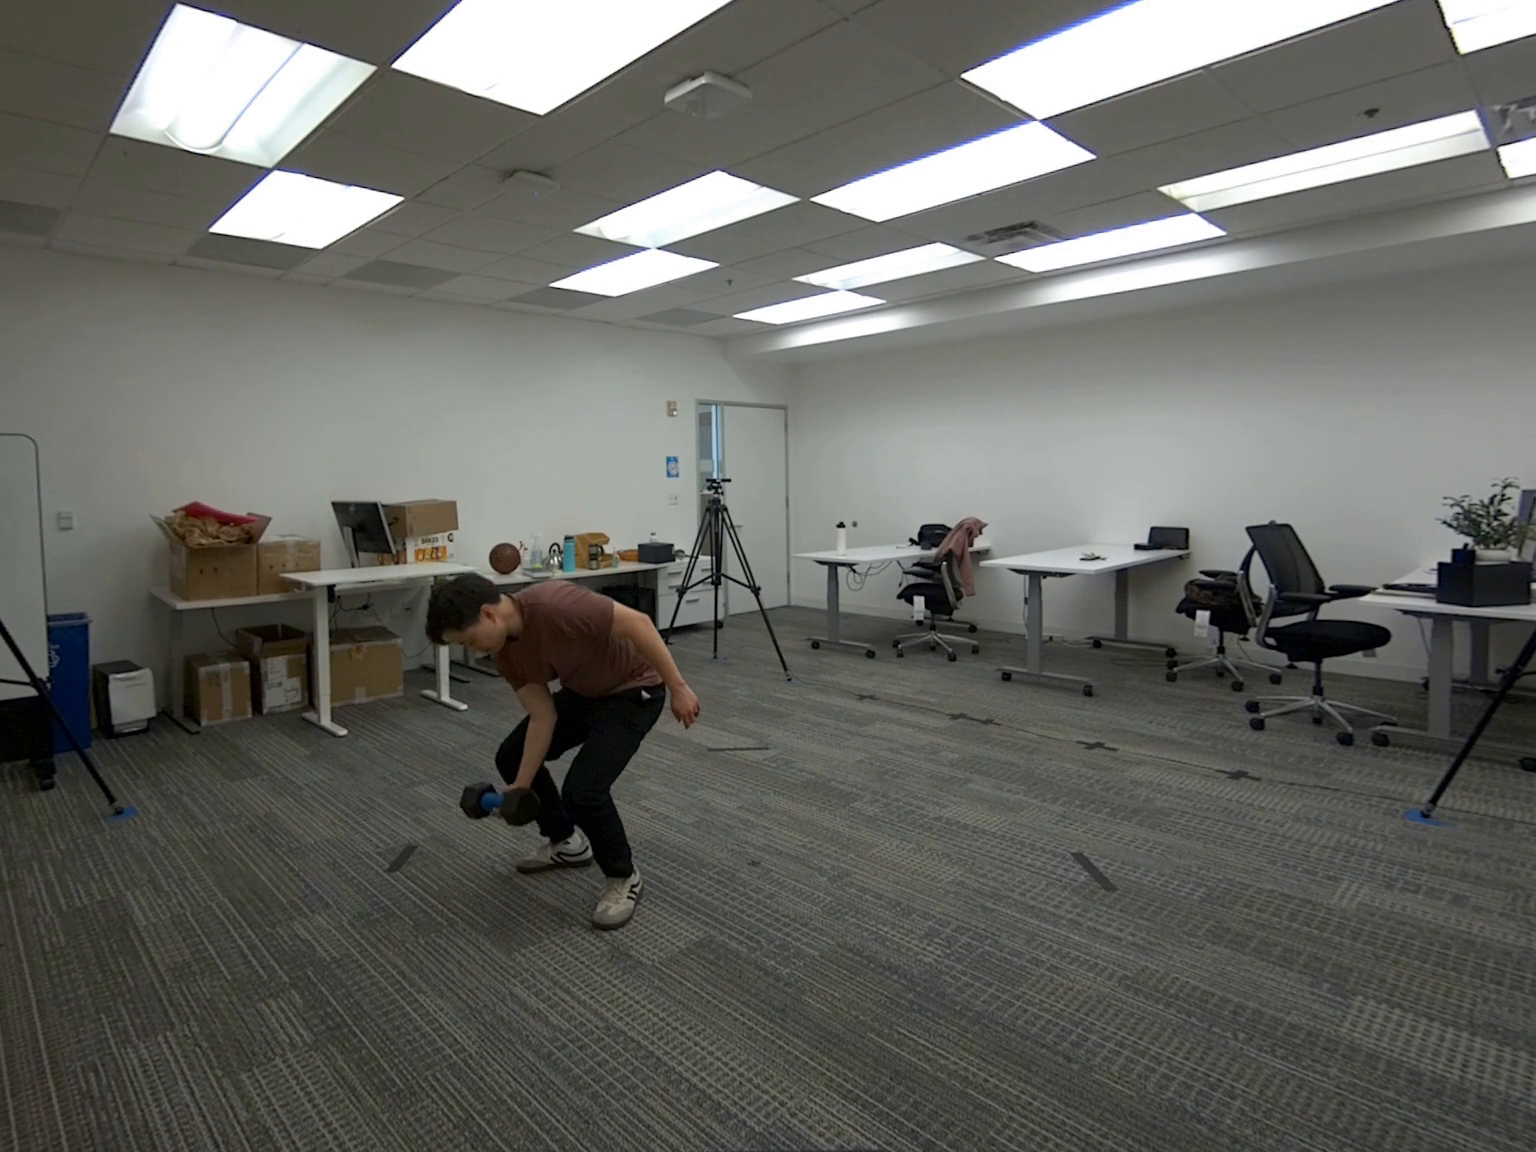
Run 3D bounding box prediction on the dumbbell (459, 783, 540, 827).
[{"bbox_3d":[-0.890,0.747,2.827,0.301,0.108,0.120,-4,2,37],"label":"dumbbell"}]
